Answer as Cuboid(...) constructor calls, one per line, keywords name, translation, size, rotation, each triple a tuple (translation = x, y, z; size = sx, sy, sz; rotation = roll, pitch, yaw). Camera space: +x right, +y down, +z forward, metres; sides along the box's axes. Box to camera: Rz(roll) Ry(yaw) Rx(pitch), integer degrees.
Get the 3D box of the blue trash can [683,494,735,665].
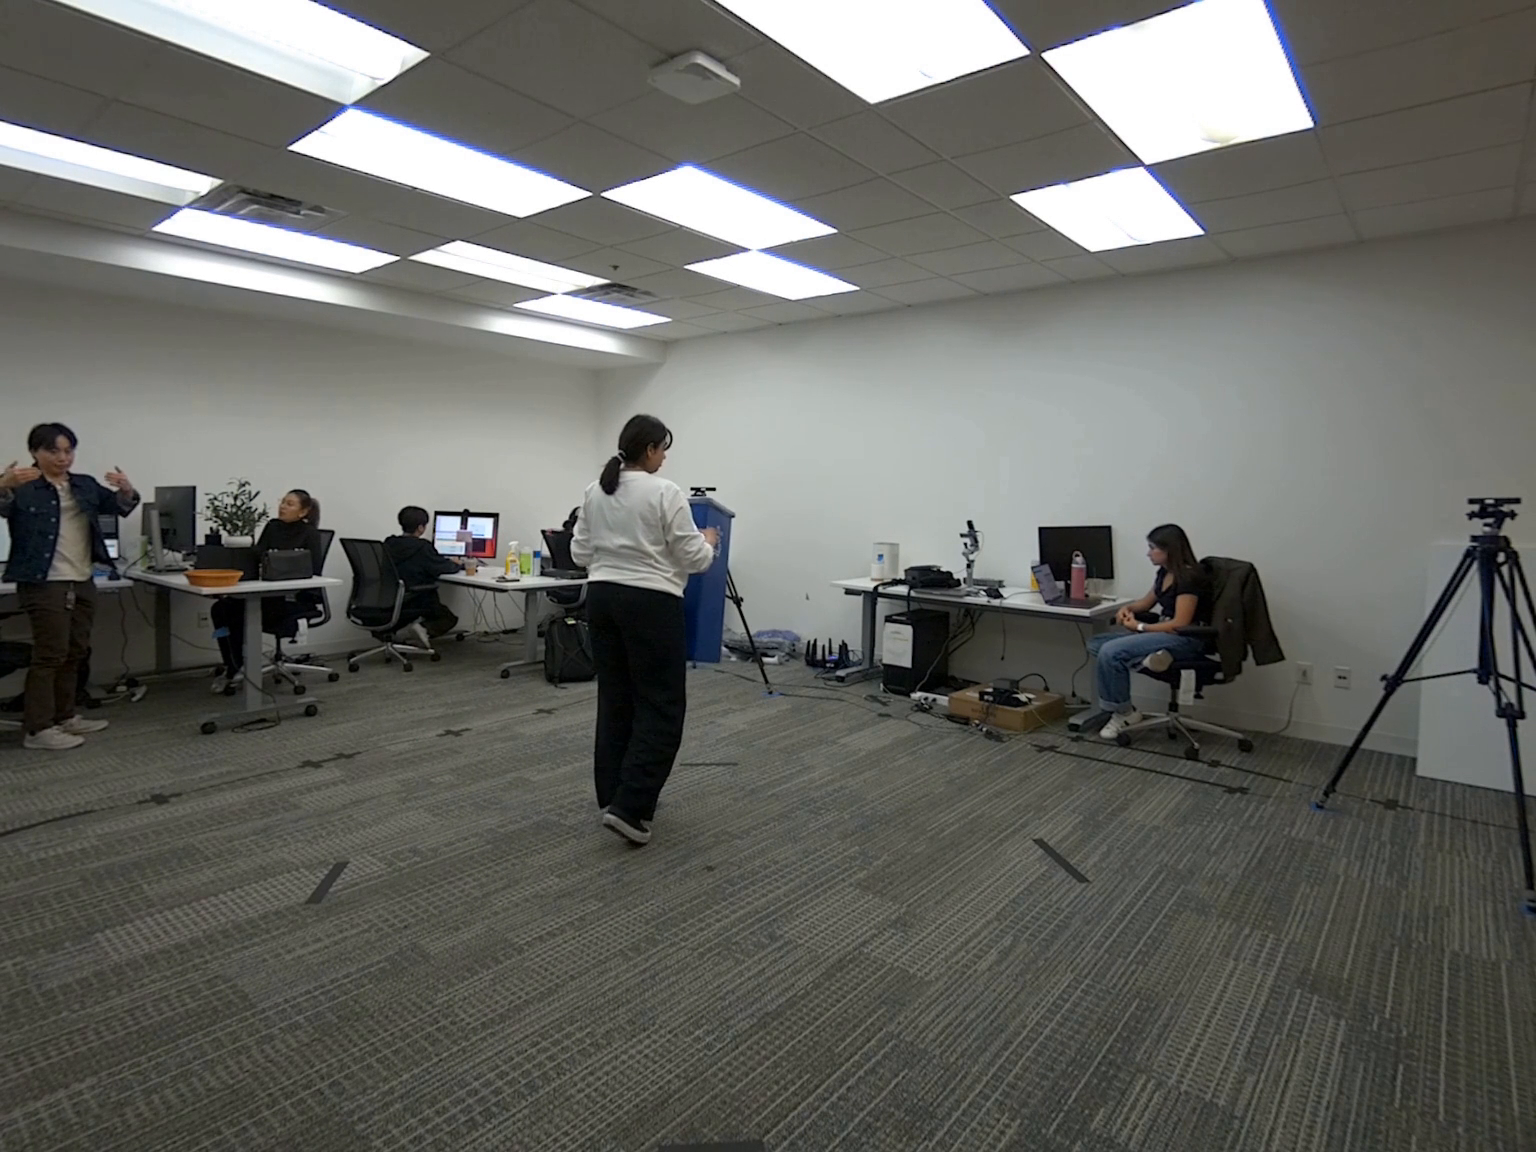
Cuboid(name="blue trash can", translation=(-0.399, 0.024, 3.896), size=(0.386, 0.719, 0.363), rotation=(-1, -9, 19))
